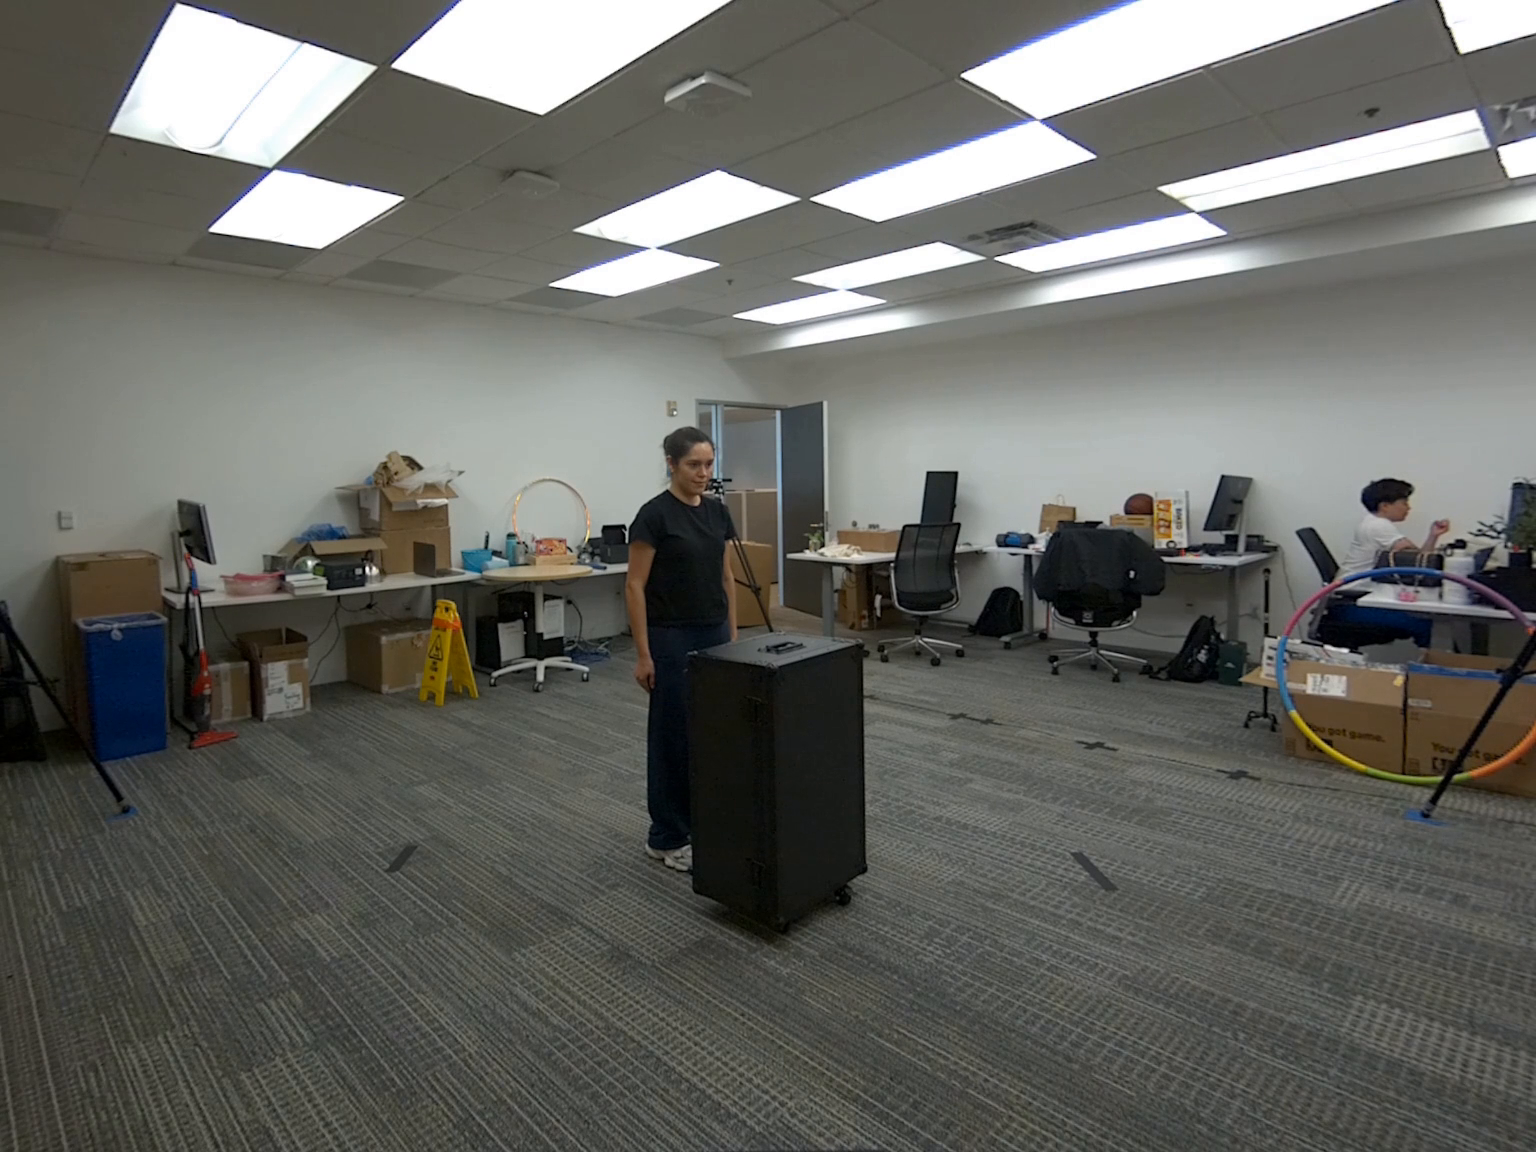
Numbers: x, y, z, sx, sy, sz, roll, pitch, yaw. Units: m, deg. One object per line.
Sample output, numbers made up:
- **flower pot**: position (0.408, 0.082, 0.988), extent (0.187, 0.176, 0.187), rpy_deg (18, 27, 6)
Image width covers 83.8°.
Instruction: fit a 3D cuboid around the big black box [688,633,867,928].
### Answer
- **big black box**: position (0.042, 0.653, 2.797), extent (0.408, 0.858, 0.507), rpy_deg (3, 5, 40)
